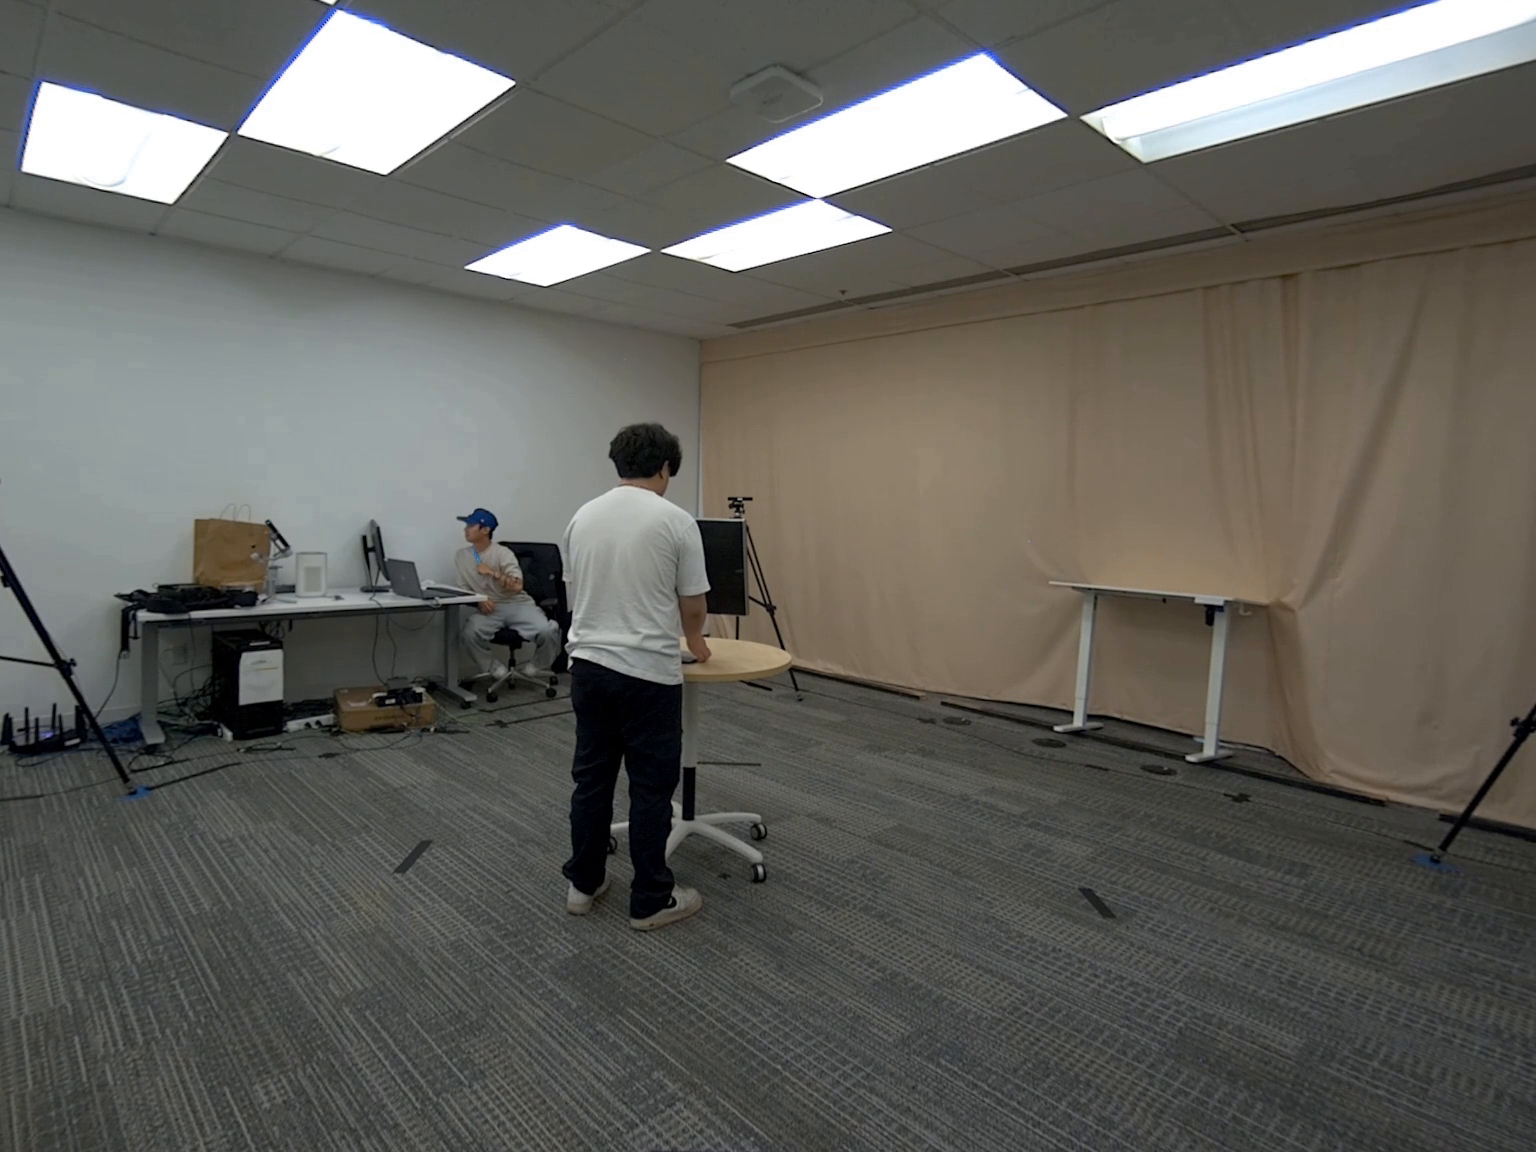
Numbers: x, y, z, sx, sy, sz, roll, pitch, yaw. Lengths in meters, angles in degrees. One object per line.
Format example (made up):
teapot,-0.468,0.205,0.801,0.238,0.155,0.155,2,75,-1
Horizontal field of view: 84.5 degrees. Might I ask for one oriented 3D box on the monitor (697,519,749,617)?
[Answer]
monitor,-0.384,0.055,3.129,0.575,0.551,0.207,3,7,22
